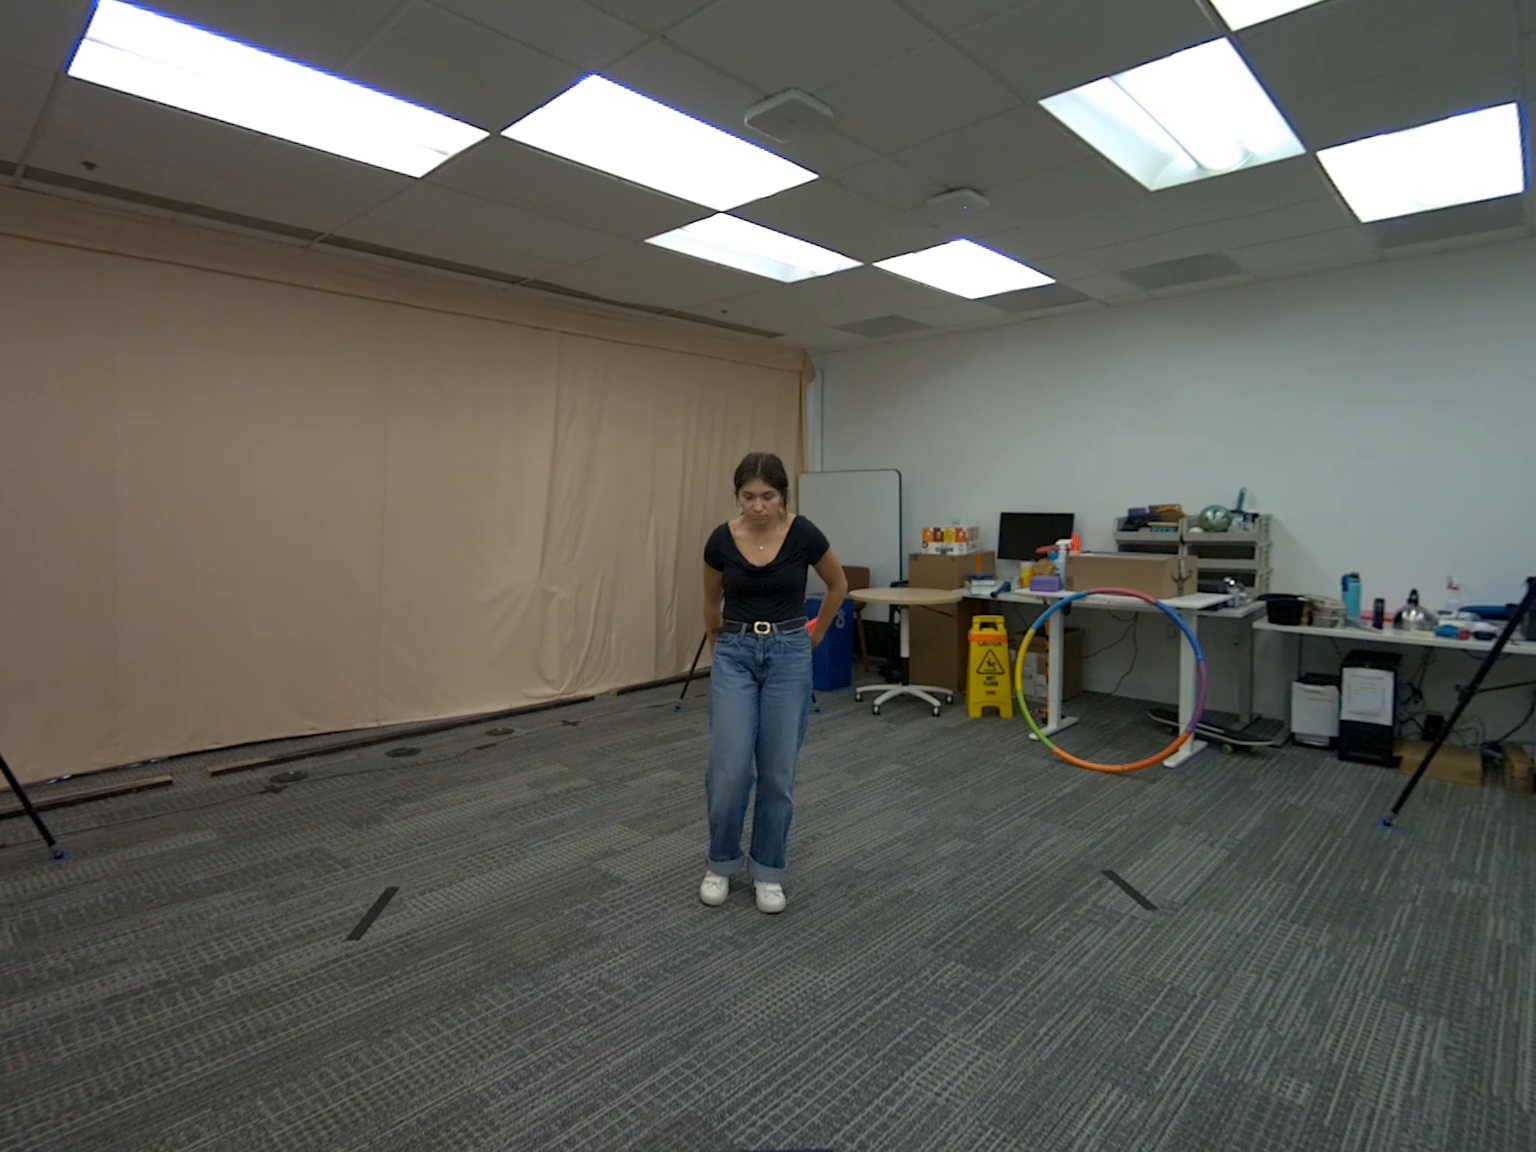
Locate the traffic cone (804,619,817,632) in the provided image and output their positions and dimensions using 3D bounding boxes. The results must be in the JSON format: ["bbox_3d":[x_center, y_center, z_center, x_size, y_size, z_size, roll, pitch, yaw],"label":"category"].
[{"bbox_3d":[0.072,0.287,3.232,0.387,0.209,0.198,-38,-33,19],"label":"traffic cone"}]
